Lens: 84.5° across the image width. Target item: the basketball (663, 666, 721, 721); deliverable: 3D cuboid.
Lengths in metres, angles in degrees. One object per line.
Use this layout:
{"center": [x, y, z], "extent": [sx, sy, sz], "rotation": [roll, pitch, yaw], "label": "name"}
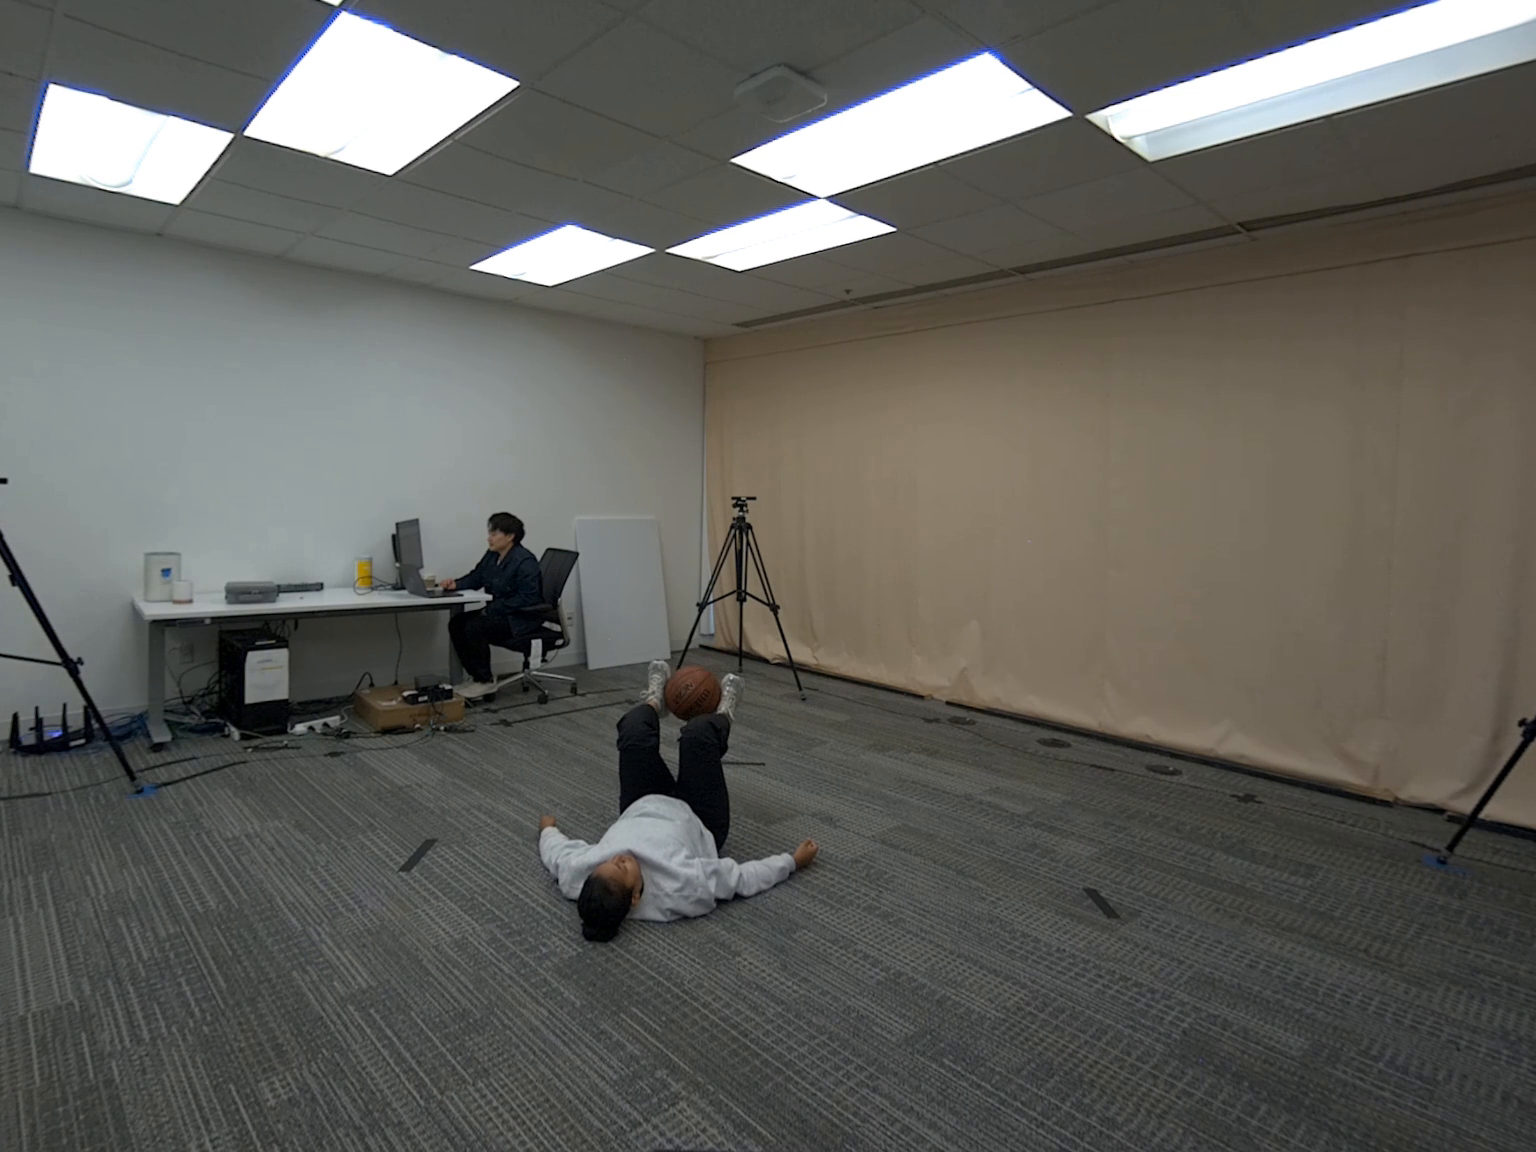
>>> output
{"center": [-0.330, 0.493, 3.584], "extent": [0.235, 0.235, 0.237], "rotation": [4, 7, -2], "label": "basketball"}
